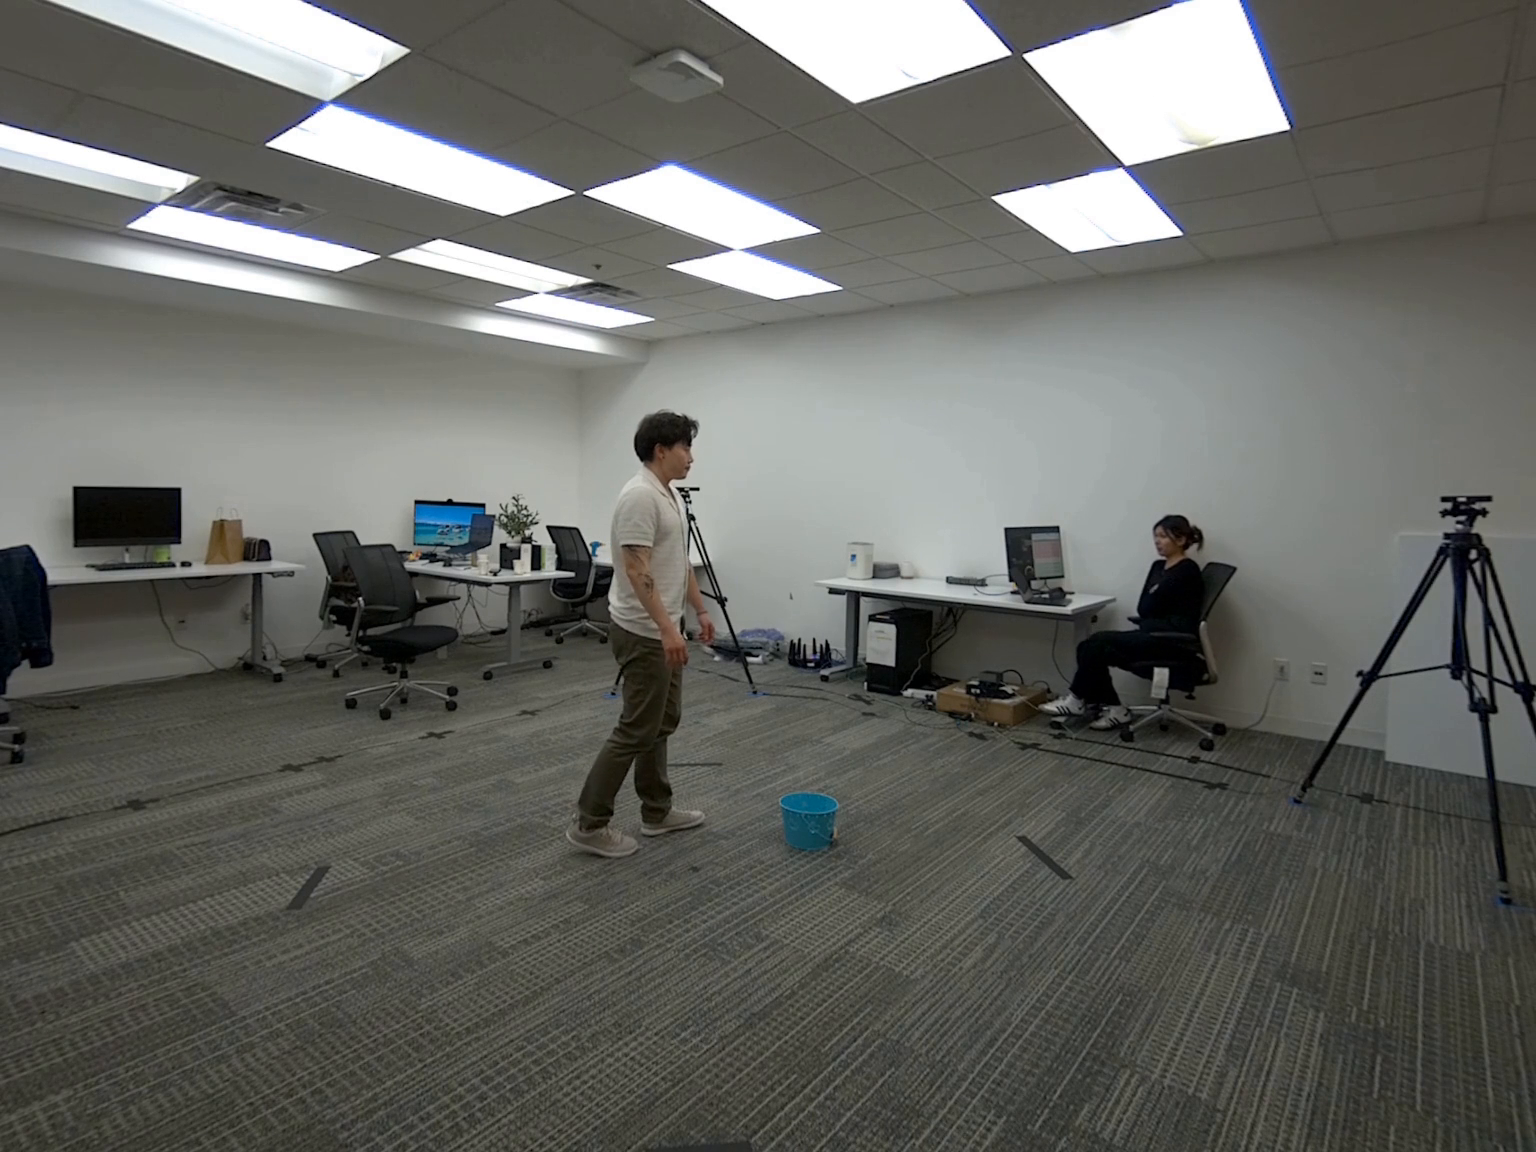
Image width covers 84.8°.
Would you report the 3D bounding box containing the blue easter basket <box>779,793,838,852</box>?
[{"bbox_3d":[0.155,0.971,3.368,0.243,0.155,0.245,0,5,-2],"label":"blue easter basket"}]
